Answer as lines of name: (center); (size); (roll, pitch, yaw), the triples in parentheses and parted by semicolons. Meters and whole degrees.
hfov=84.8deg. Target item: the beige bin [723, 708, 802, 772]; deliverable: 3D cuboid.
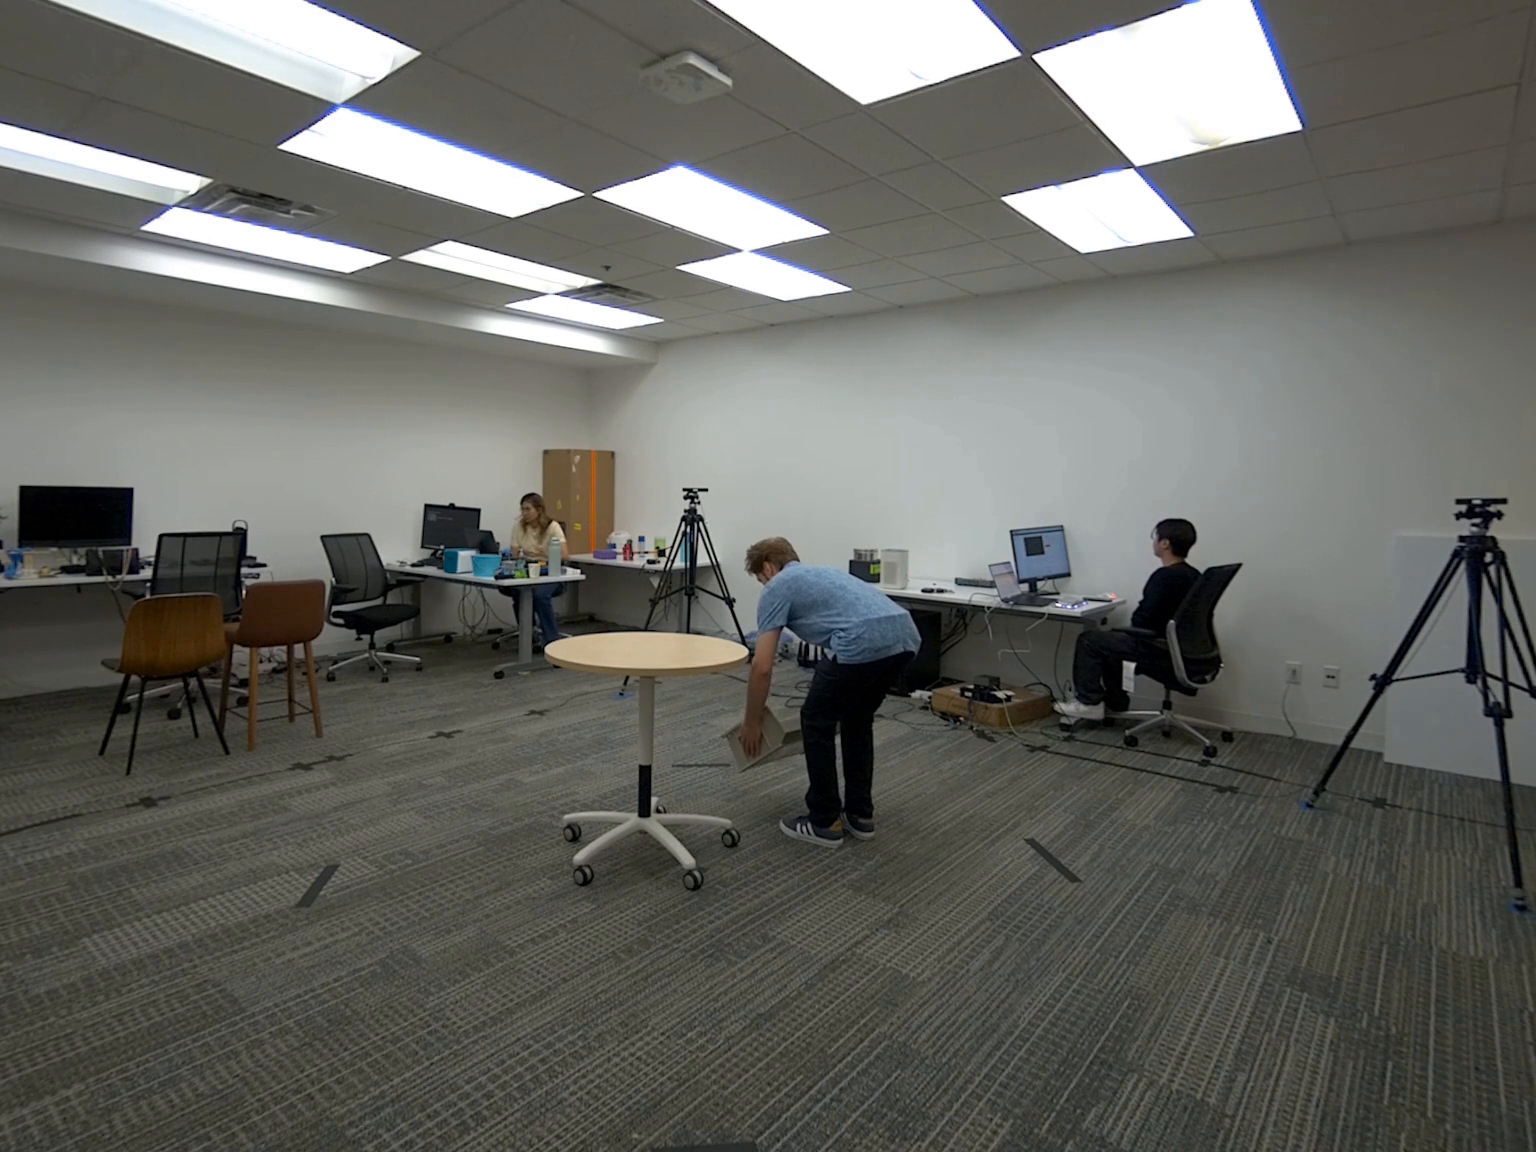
beige bin: (0.068, 0.667, 3.706); (0.410, 0.194, 0.378); (-4, -28, -42)
